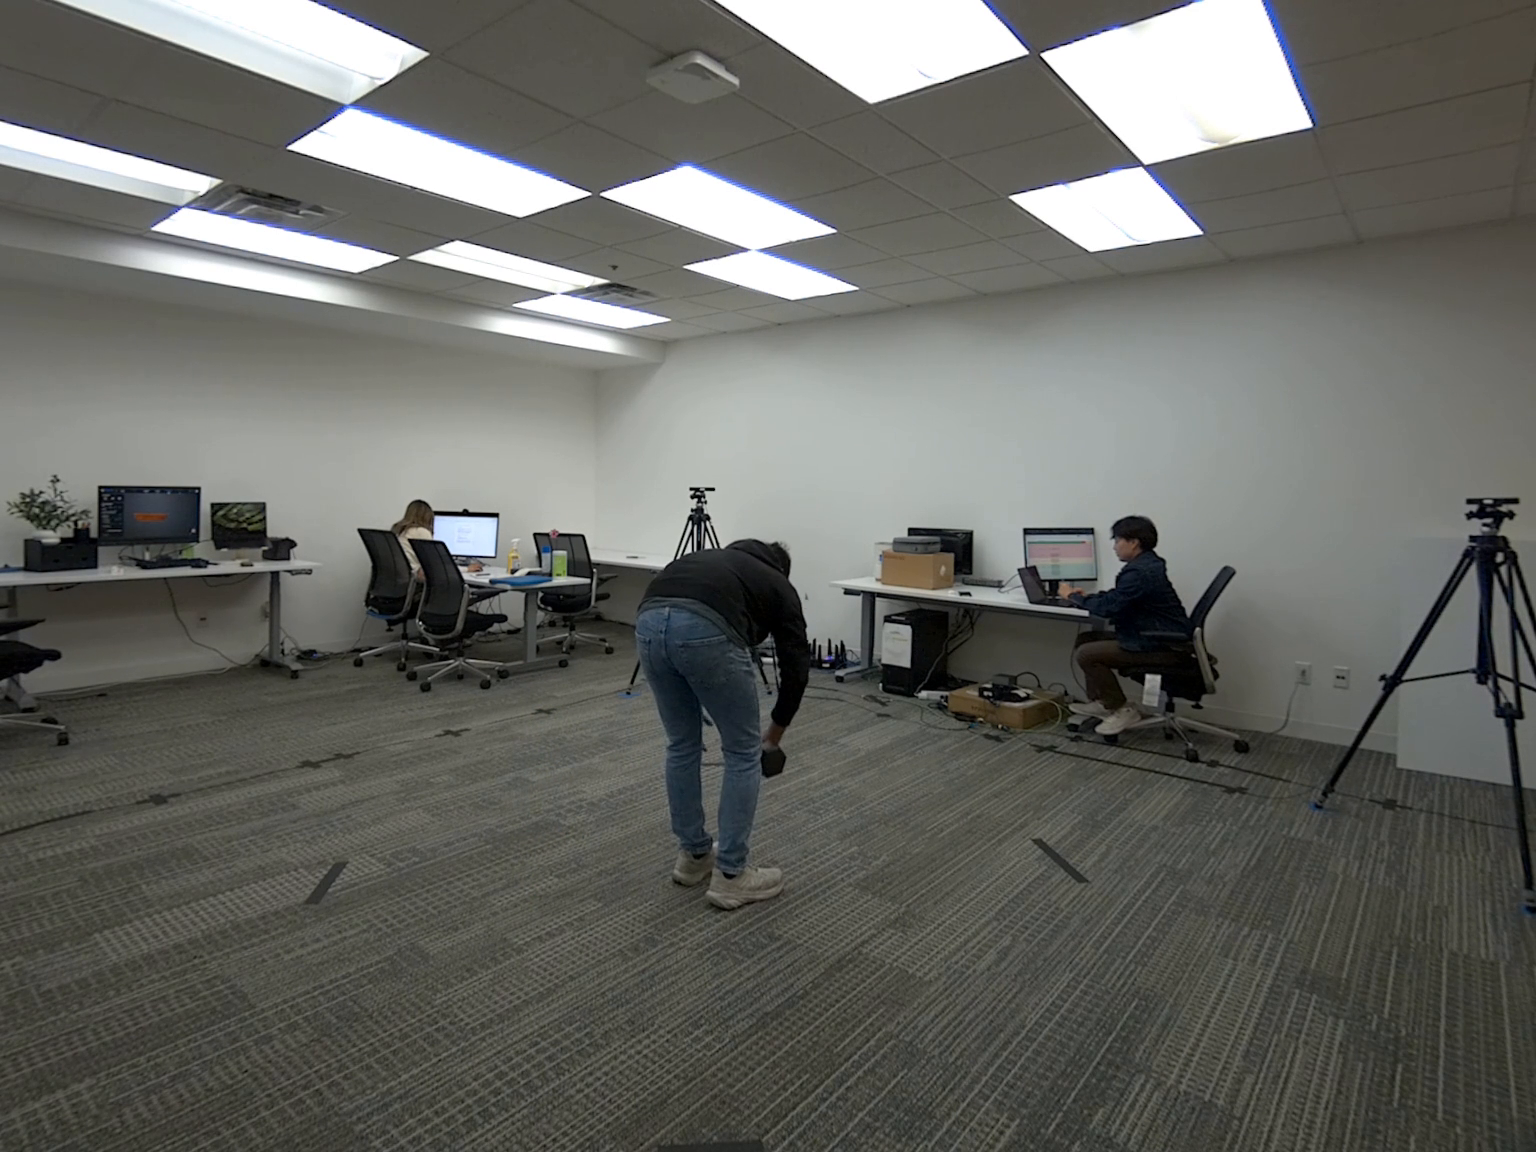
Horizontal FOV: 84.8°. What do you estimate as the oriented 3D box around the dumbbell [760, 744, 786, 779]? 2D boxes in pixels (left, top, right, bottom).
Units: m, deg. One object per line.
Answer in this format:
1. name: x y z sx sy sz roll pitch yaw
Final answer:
1. dumbbell: -0.065 0.639 3.114 0.105 0.123 0.302 23 -10 -29
